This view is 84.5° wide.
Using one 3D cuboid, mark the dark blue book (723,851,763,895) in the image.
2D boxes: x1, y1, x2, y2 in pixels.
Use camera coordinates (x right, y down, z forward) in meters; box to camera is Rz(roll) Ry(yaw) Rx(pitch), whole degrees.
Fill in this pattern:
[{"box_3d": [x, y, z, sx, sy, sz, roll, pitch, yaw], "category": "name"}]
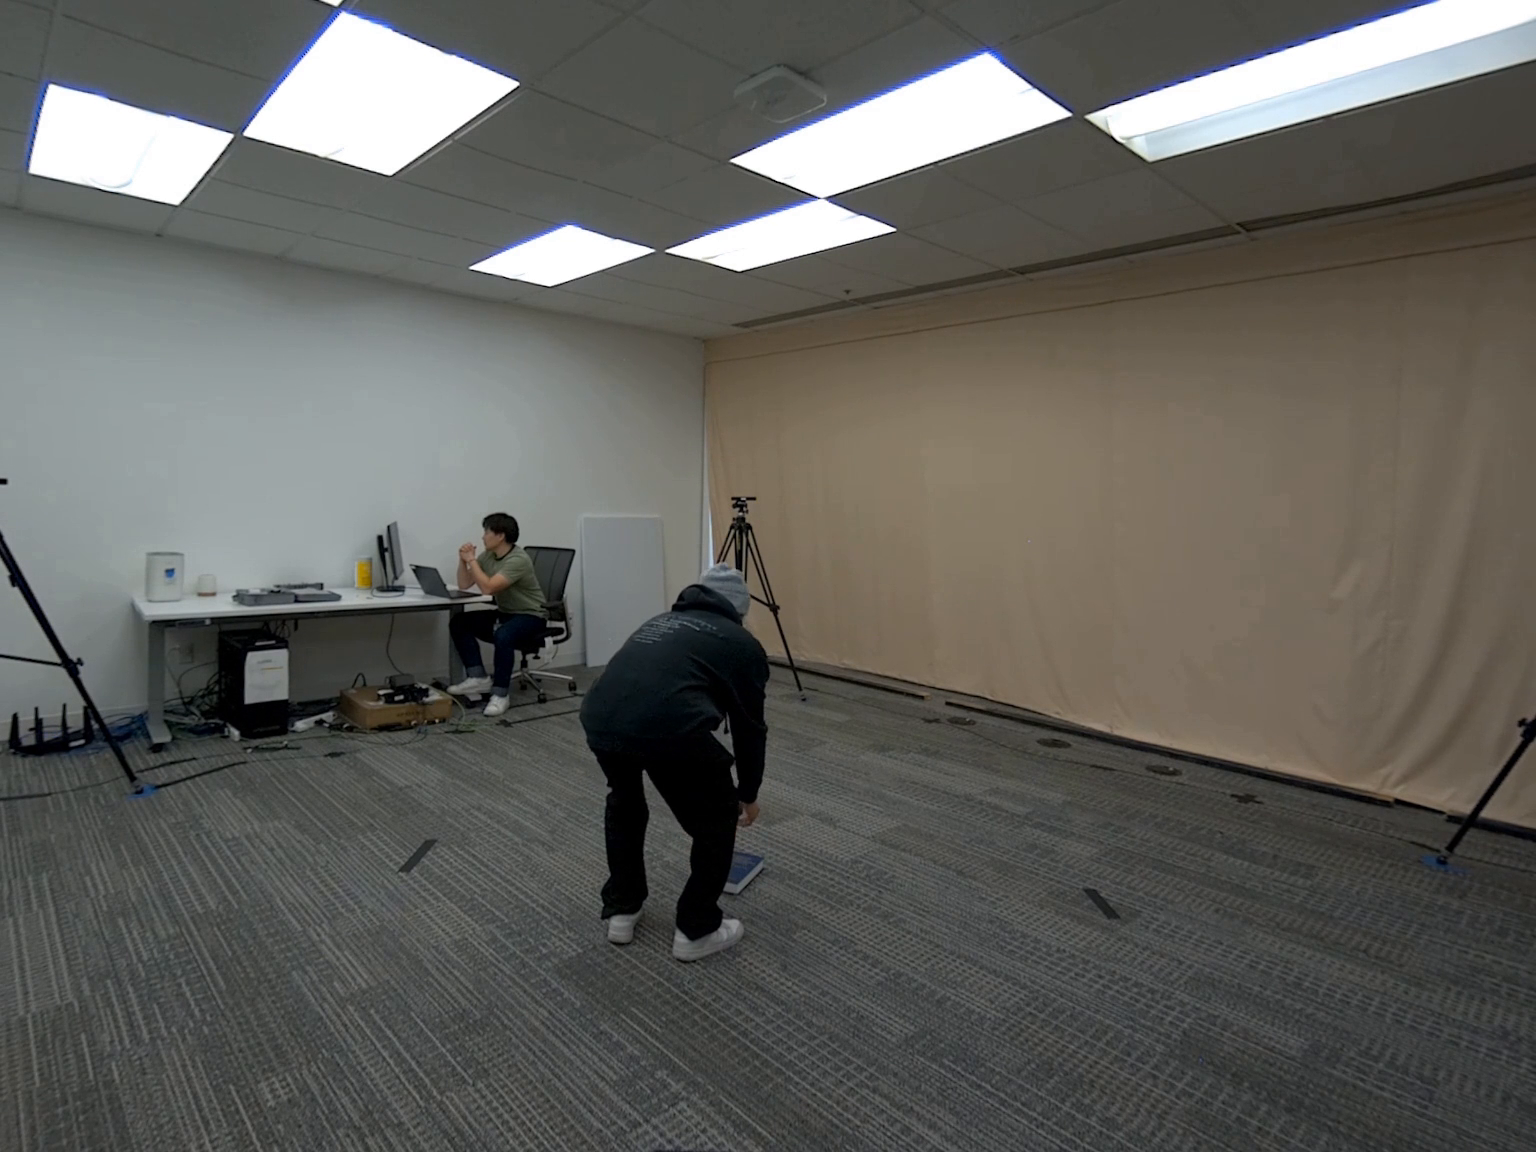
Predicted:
[{"box_3d": [-0.138, 1.084, 3.090, 0.166, 0.045, 0.241, 4, 6, 23], "category": "dark blue book"}]
